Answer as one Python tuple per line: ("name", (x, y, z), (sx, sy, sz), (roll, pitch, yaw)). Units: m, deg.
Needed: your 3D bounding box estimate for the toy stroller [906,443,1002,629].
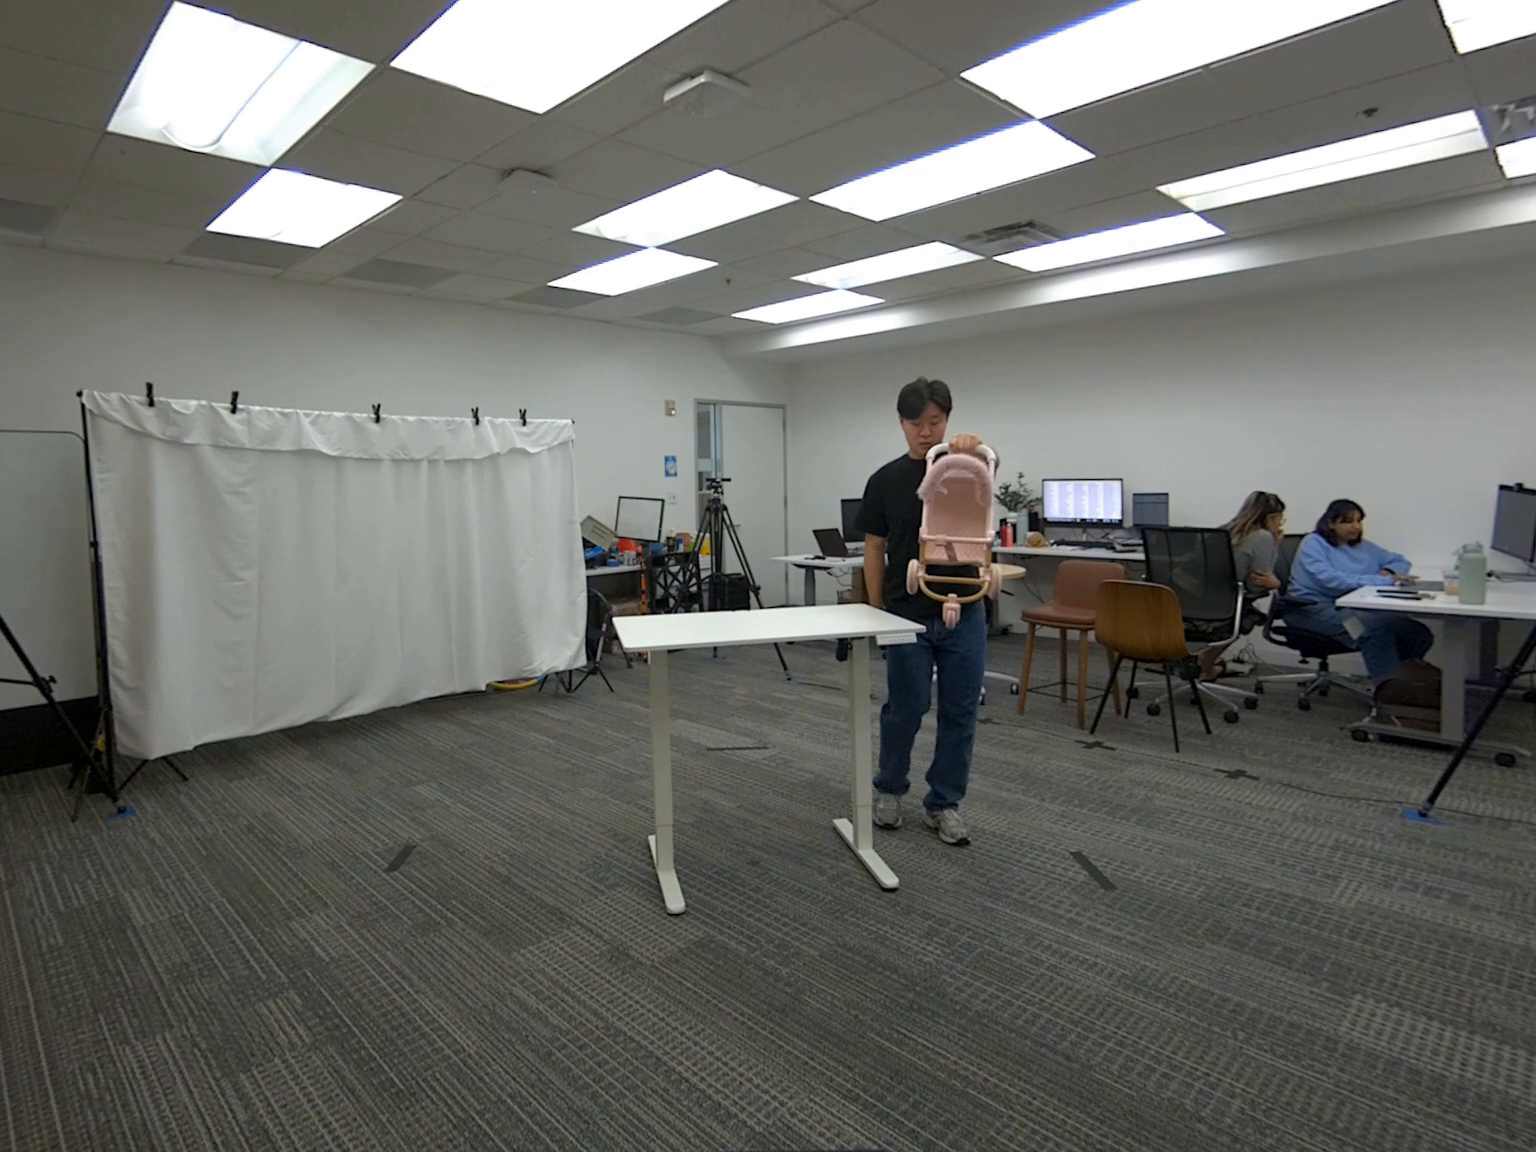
("toy stroller", (0.566, -0.127, 2.559), (0.287, 0.531, 0.337), (5, 8, 18))
